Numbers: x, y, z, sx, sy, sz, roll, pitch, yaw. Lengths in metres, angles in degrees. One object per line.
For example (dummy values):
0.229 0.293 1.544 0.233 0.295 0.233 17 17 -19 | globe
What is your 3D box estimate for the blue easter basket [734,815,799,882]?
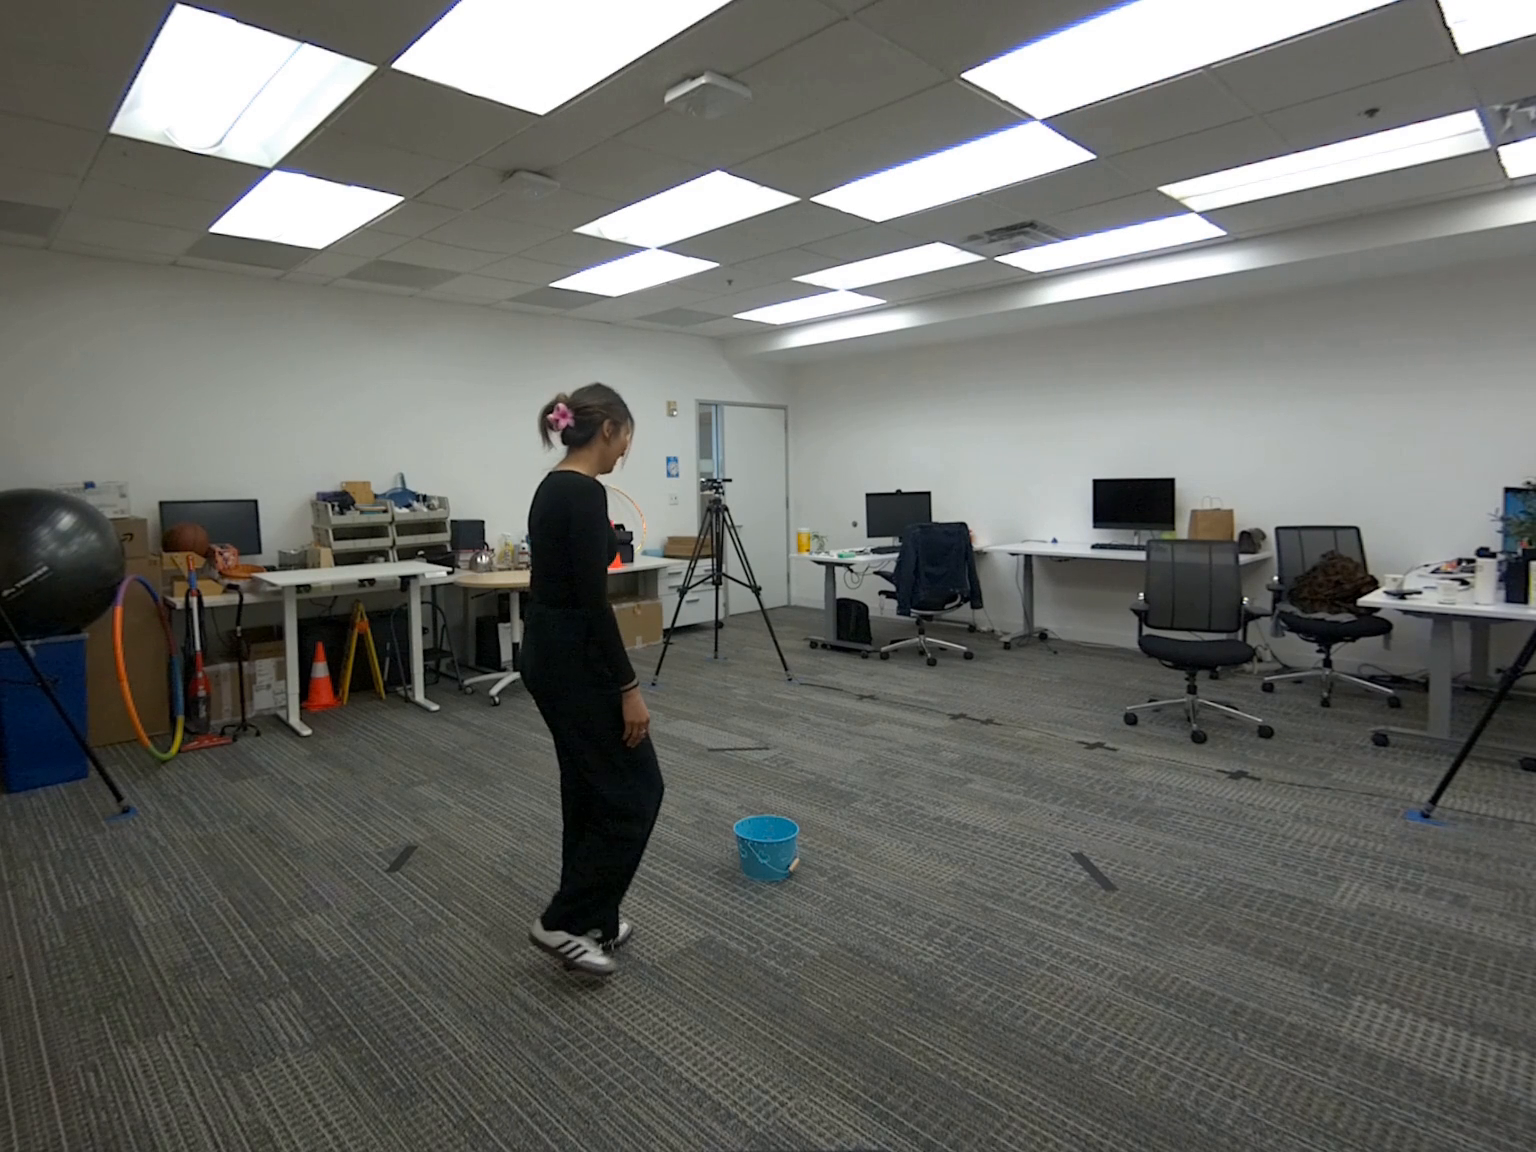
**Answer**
0.000 0.970 3.043 0.243 0.155 0.245 -1 6 -2 | blue easter basket
